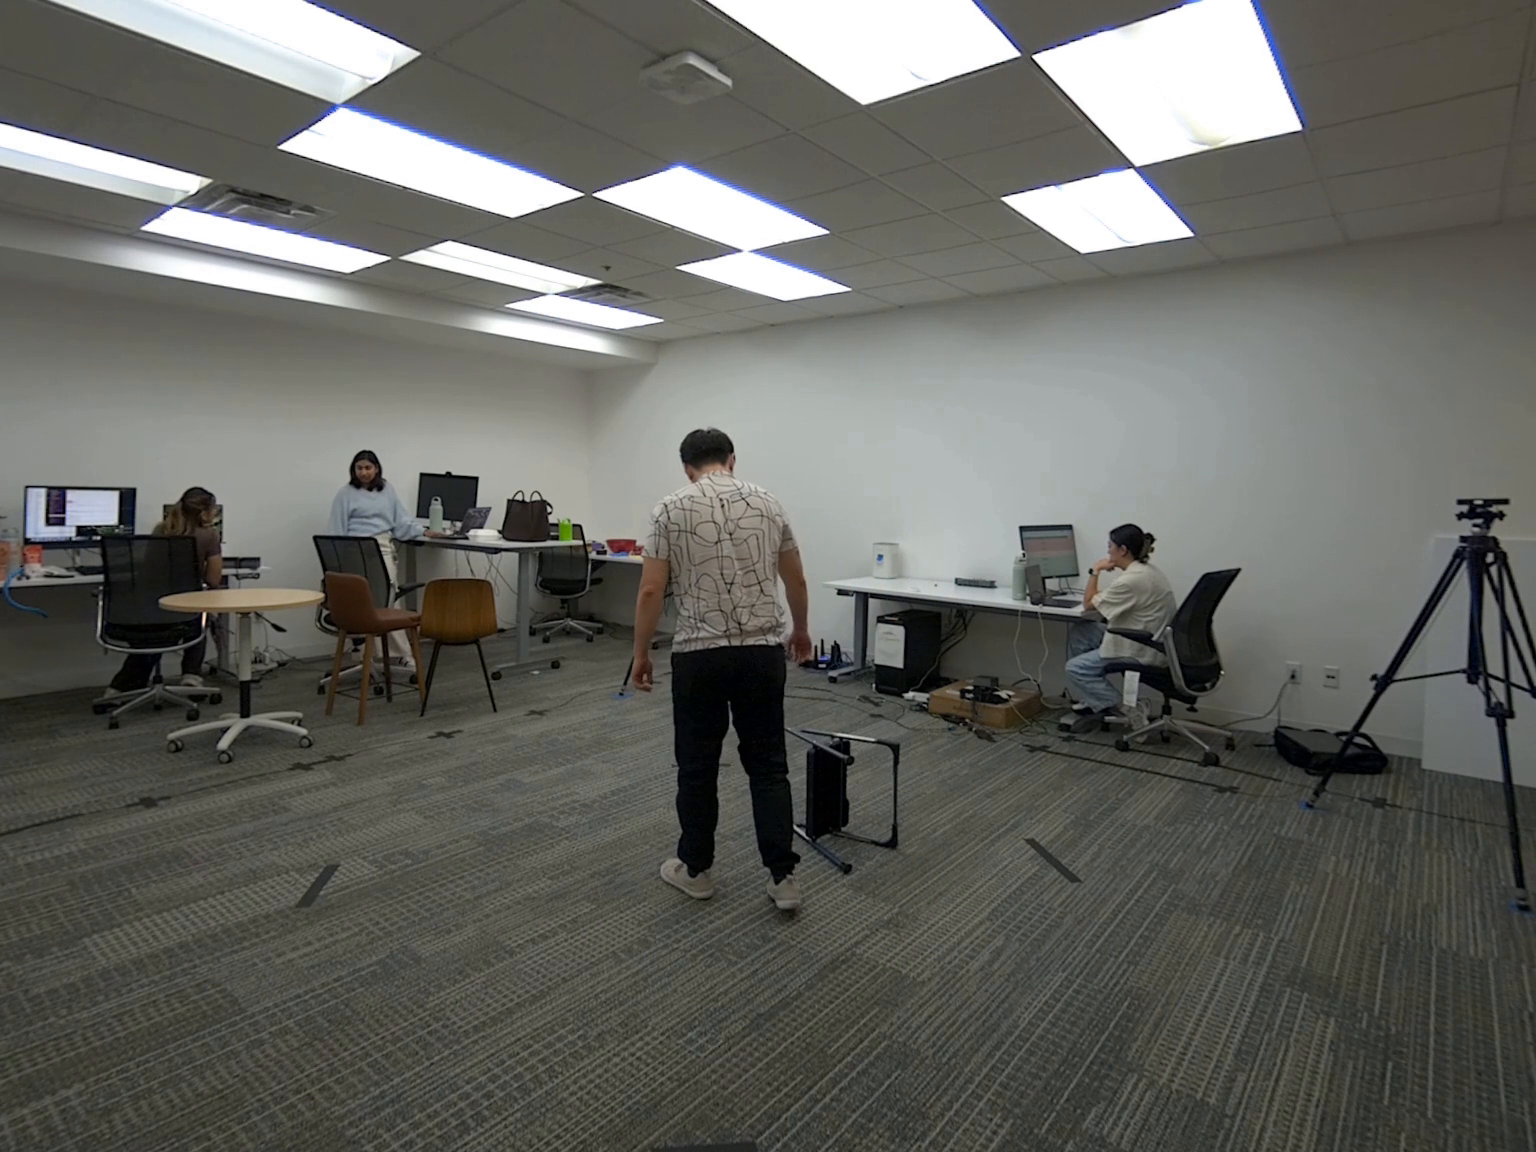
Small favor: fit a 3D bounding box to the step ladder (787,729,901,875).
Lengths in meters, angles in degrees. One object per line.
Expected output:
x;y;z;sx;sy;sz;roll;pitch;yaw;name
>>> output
0.172;0.838;3.422;0.627;0.430;0.338;5;4;44;step ladder
